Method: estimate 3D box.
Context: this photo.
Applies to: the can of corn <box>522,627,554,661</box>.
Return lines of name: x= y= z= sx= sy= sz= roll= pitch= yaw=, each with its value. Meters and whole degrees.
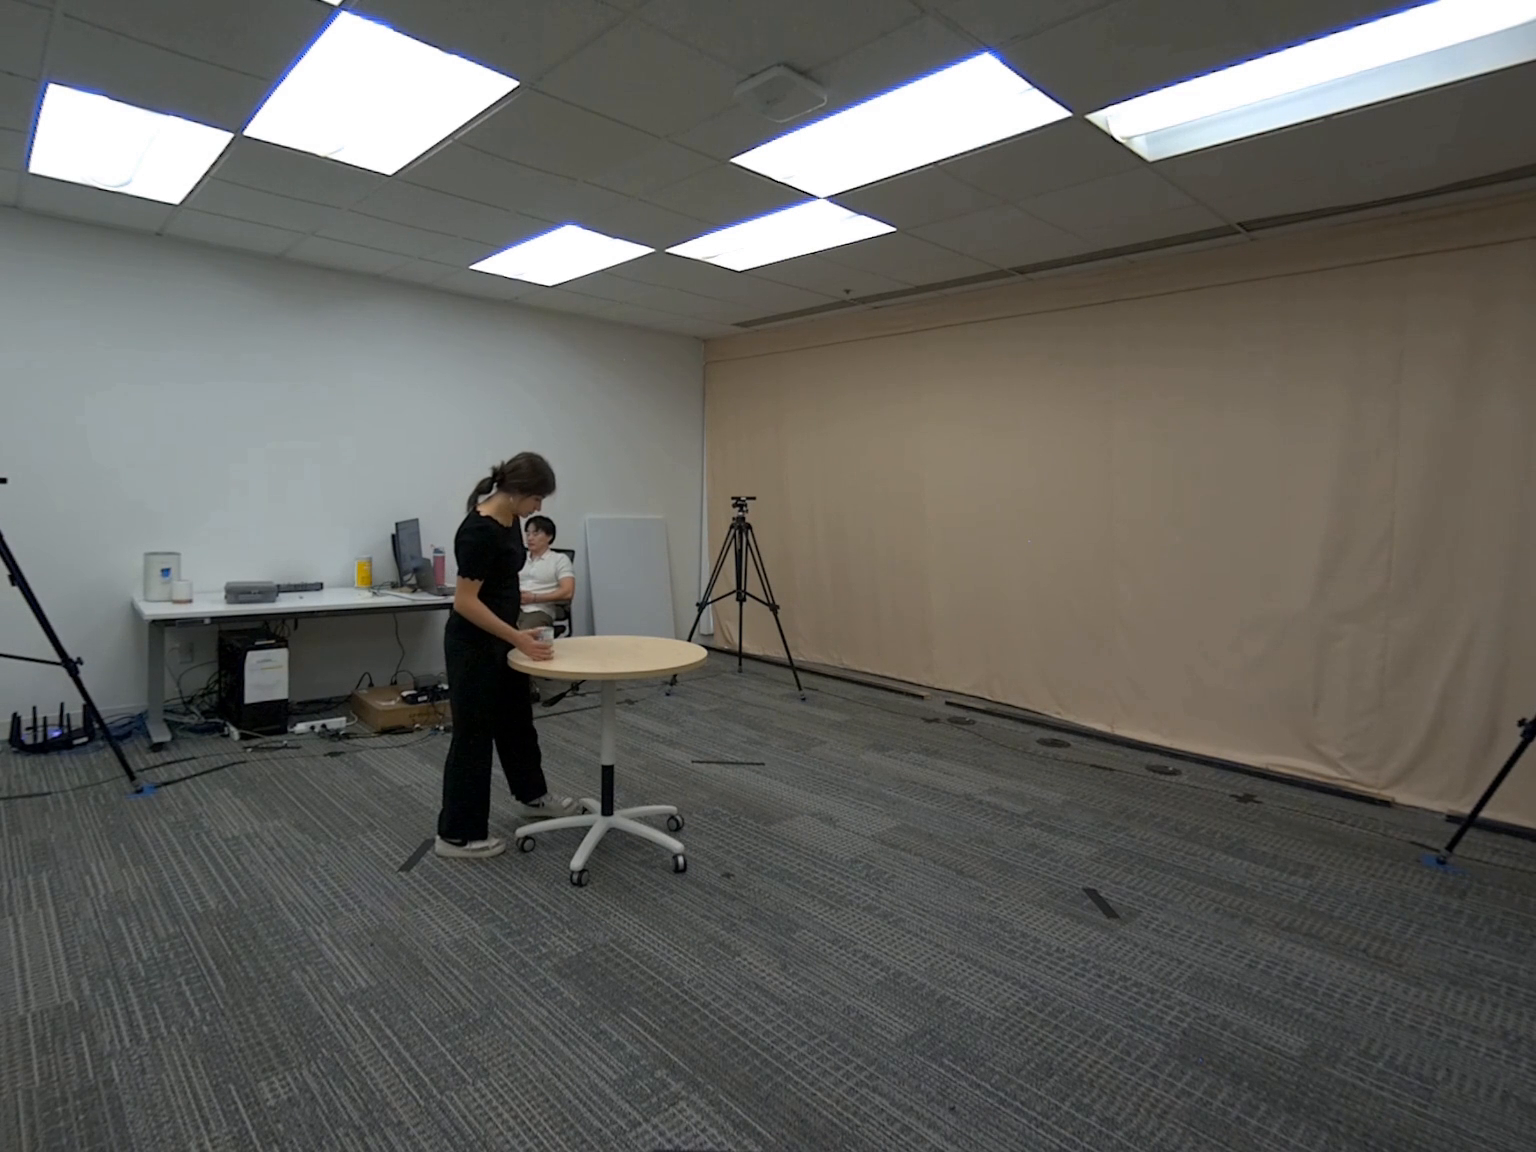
can of corn: x=-0.848 y=0.252 z=3.123 sx=0.074 sy=0.111 sz=0.074 roll=-2 pitch=2 yaw=-1
